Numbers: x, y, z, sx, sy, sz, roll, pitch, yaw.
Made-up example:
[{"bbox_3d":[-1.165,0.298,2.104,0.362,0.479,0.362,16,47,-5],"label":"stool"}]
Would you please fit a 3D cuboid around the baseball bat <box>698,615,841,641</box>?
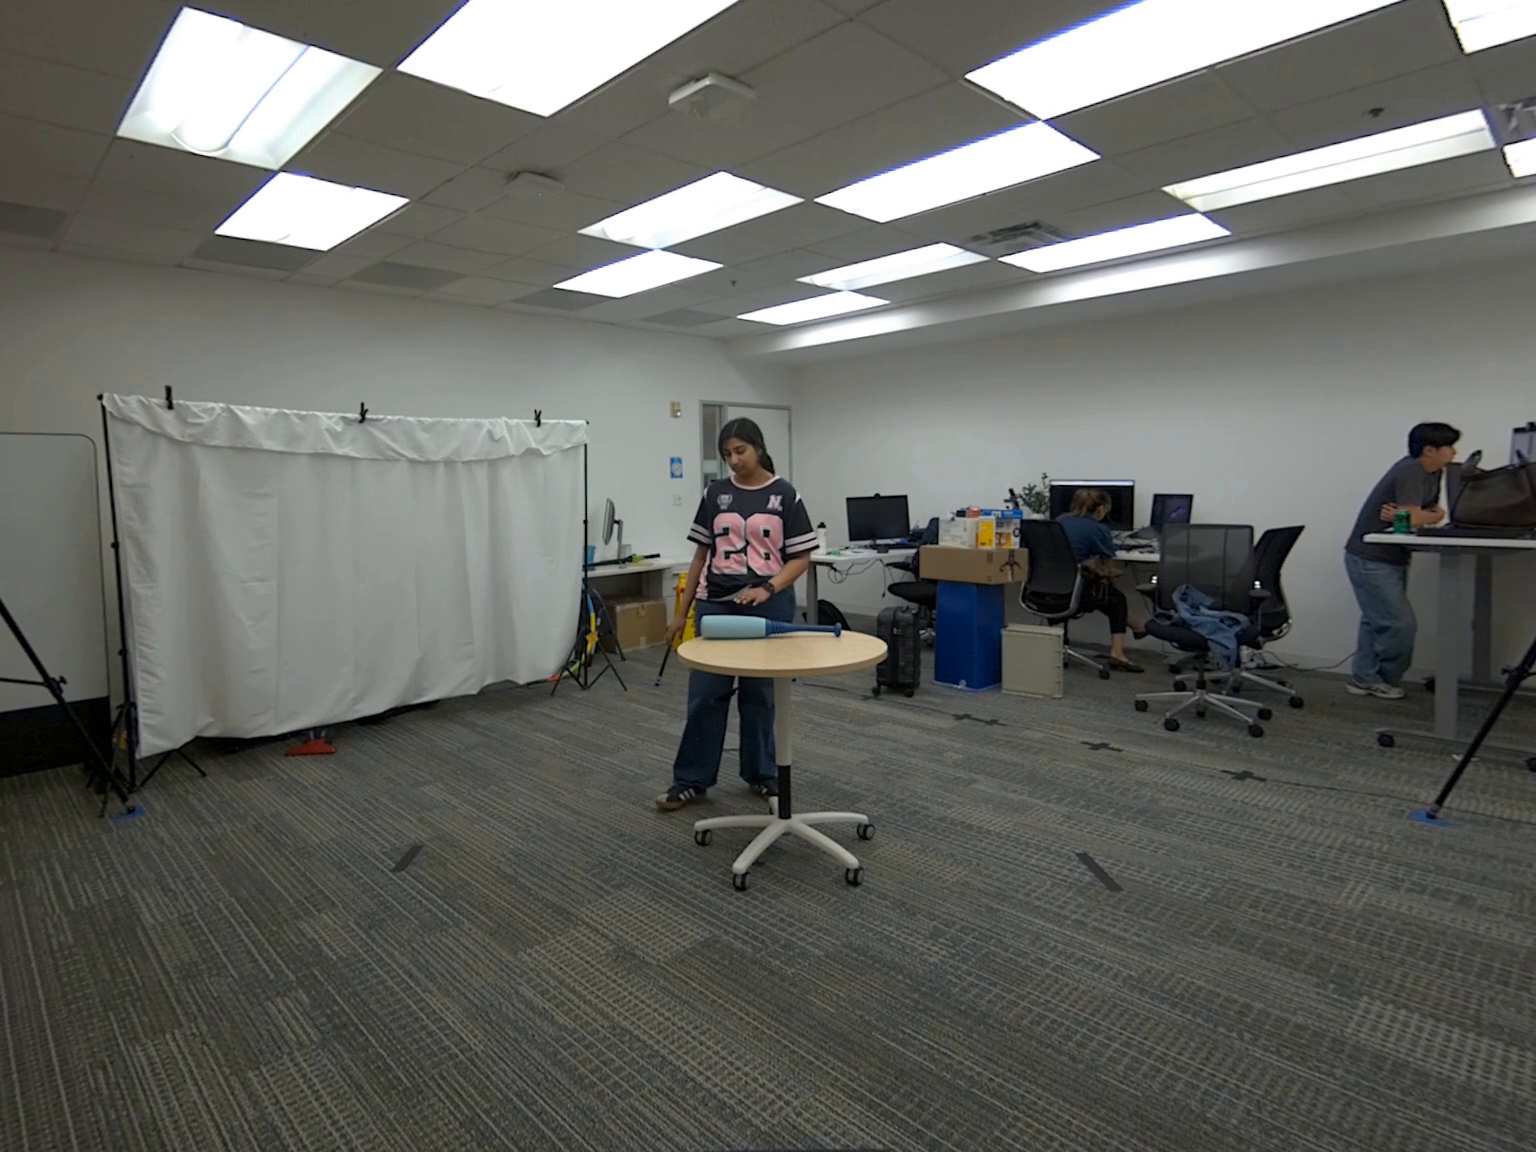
[{"bbox_3d":[0.011,0.206,3.311,0.542,0.089,0.089,1,5,-1],"label":"baseball bat"}]
